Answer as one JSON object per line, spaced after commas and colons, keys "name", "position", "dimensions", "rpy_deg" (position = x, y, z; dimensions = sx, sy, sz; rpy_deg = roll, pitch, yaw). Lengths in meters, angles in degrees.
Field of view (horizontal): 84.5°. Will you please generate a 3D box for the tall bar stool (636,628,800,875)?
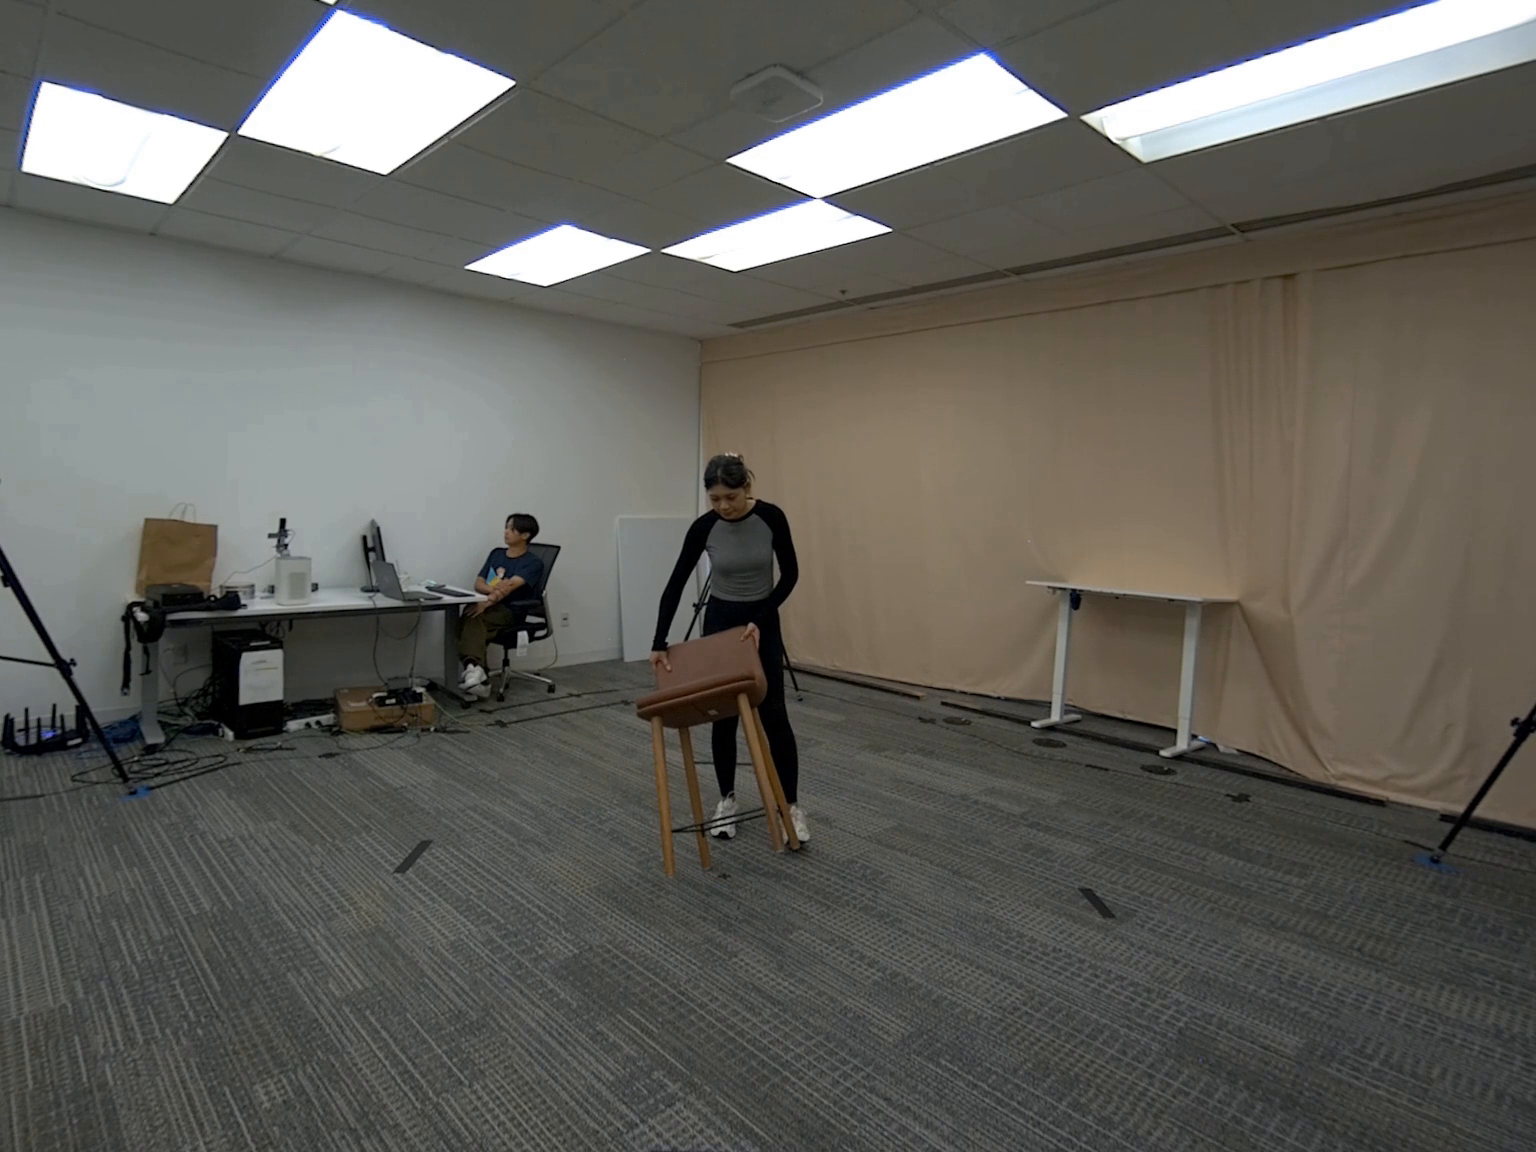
{"name": "tall bar stool", "position": [-0.211, 0.601, 3.082], "dimensions": [0.458, 0.907, 0.457], "rpy_deg": [-17, -22, 7]}
